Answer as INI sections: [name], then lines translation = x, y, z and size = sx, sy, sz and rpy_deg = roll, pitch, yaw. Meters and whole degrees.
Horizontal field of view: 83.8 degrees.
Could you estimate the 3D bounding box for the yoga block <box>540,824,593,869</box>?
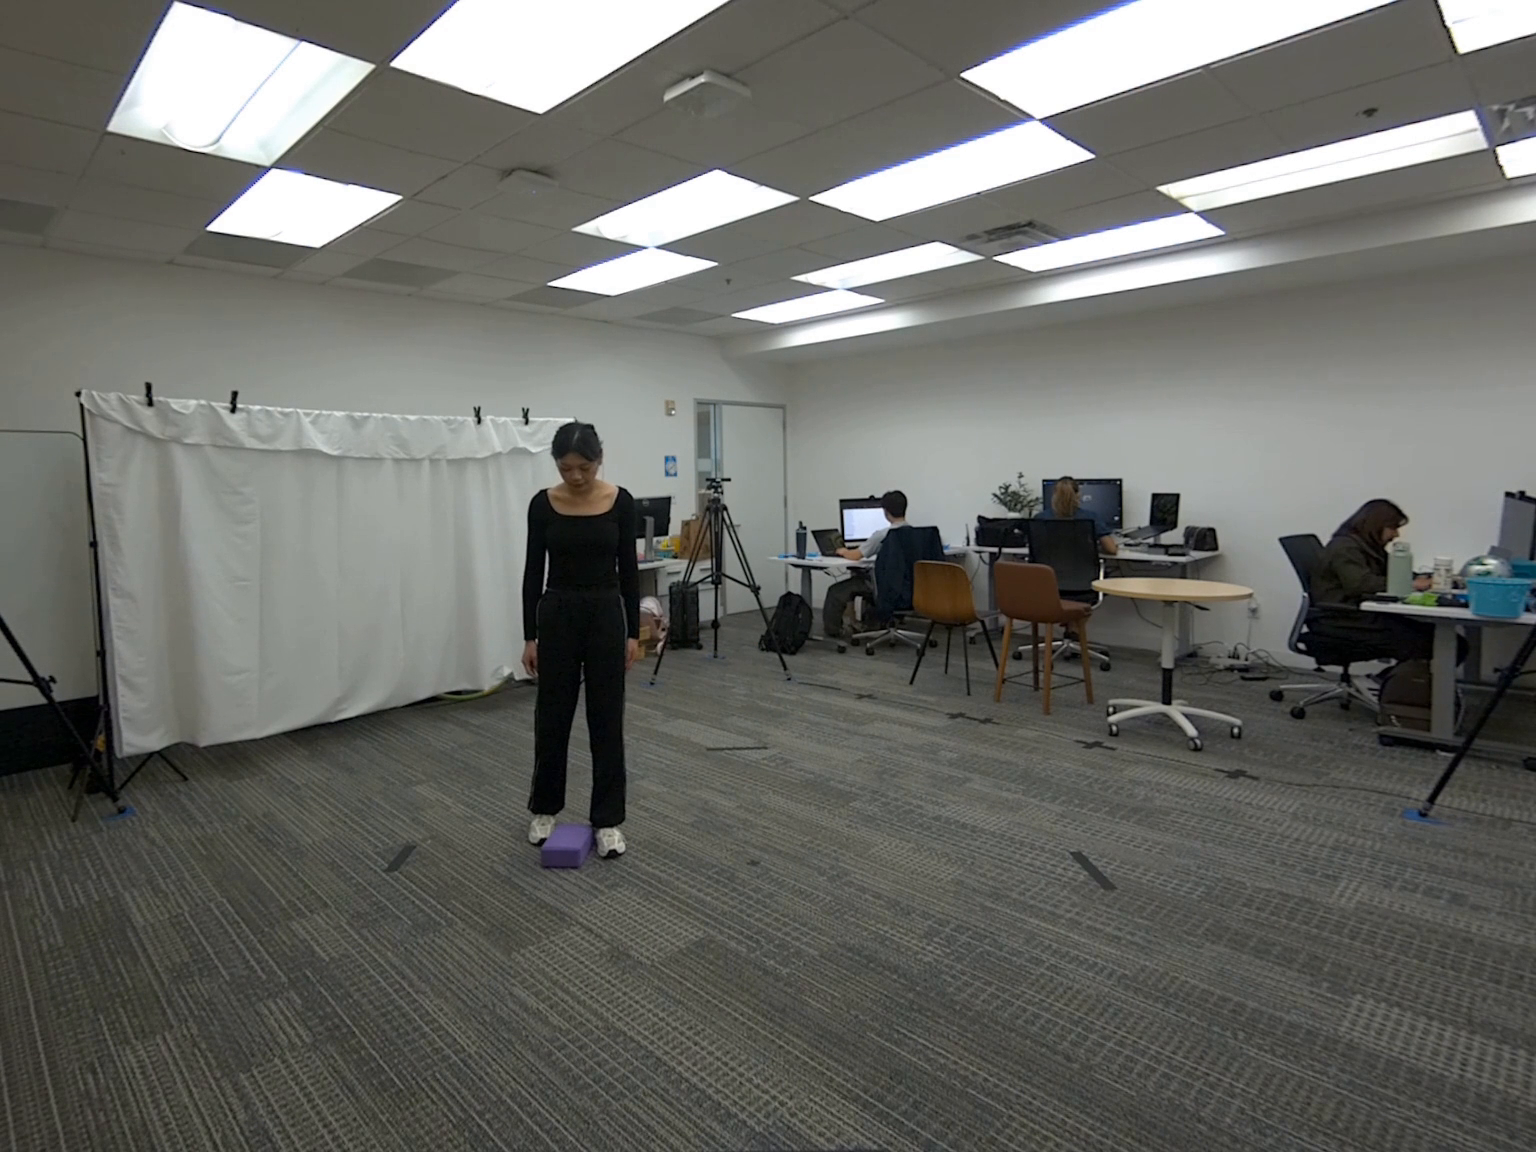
[yoga block]
translation = -0.749, 1.007, 3.193
size = 0.149, 0.076, 0.229
rpy_deg = 0, 5, 2
